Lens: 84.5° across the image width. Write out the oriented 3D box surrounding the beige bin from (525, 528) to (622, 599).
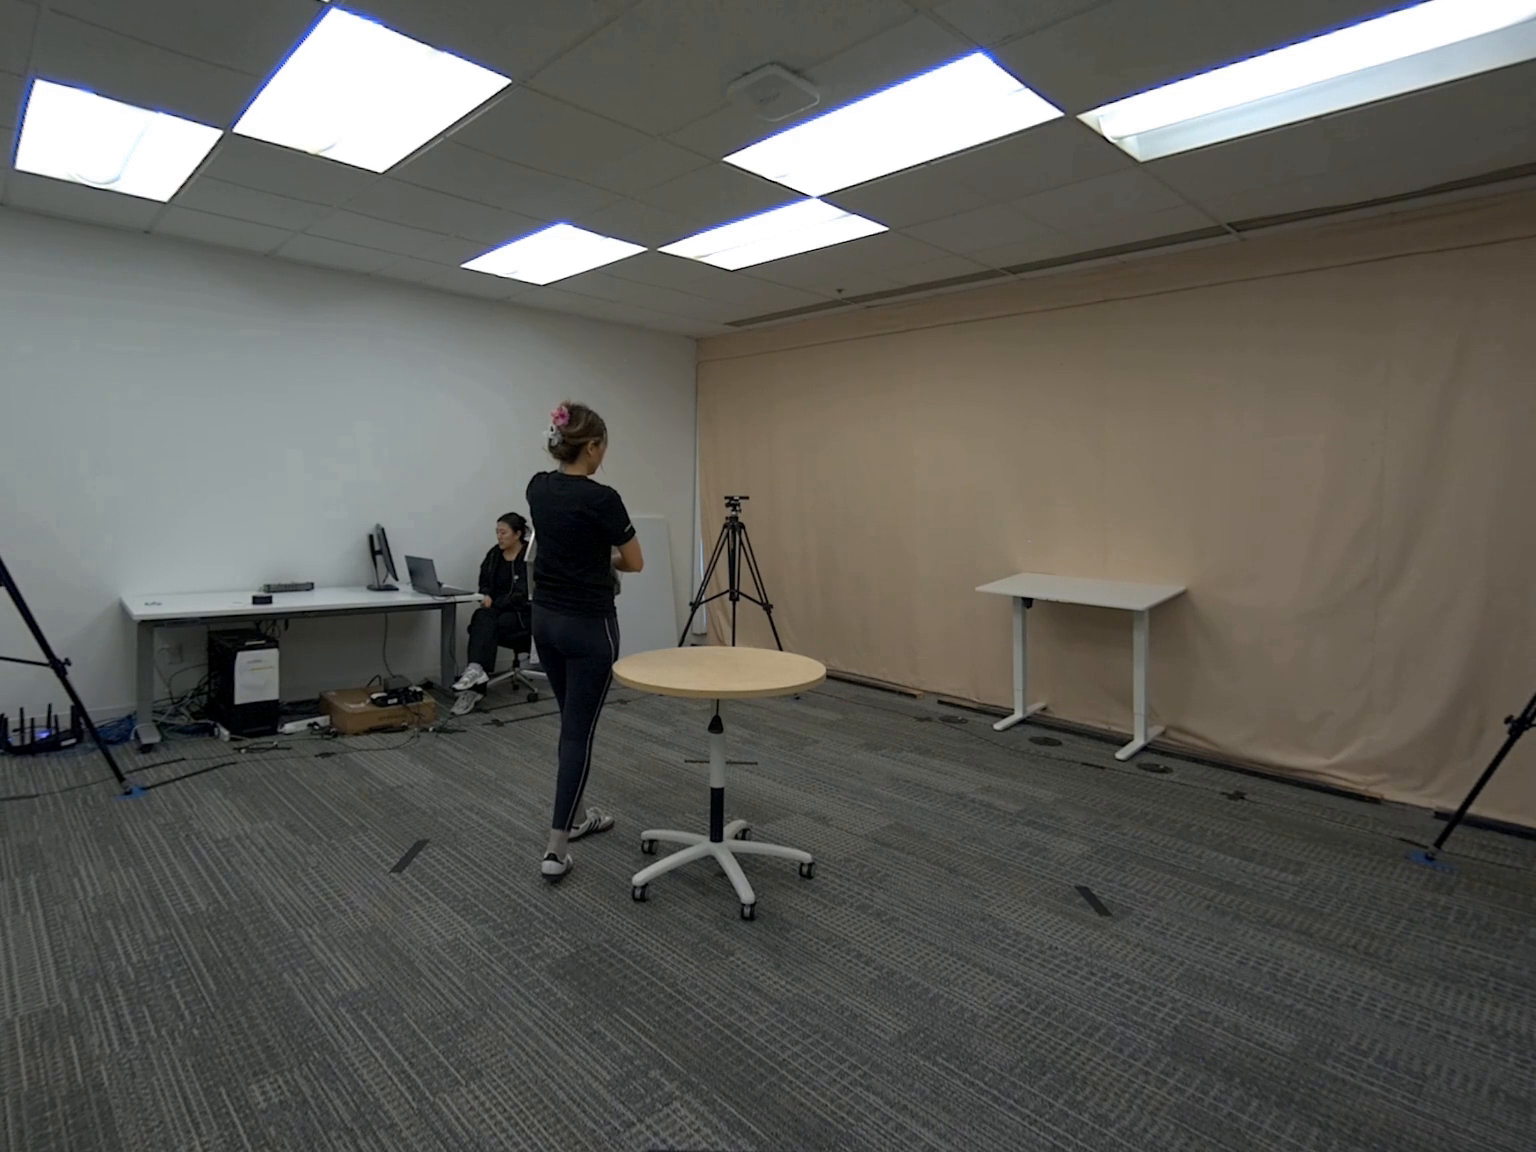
[{"bbox_3d":[-0.796,-0.069,3.512,0.376,0.186,0.431,0,27,-5],"label":"beige bin"}]
